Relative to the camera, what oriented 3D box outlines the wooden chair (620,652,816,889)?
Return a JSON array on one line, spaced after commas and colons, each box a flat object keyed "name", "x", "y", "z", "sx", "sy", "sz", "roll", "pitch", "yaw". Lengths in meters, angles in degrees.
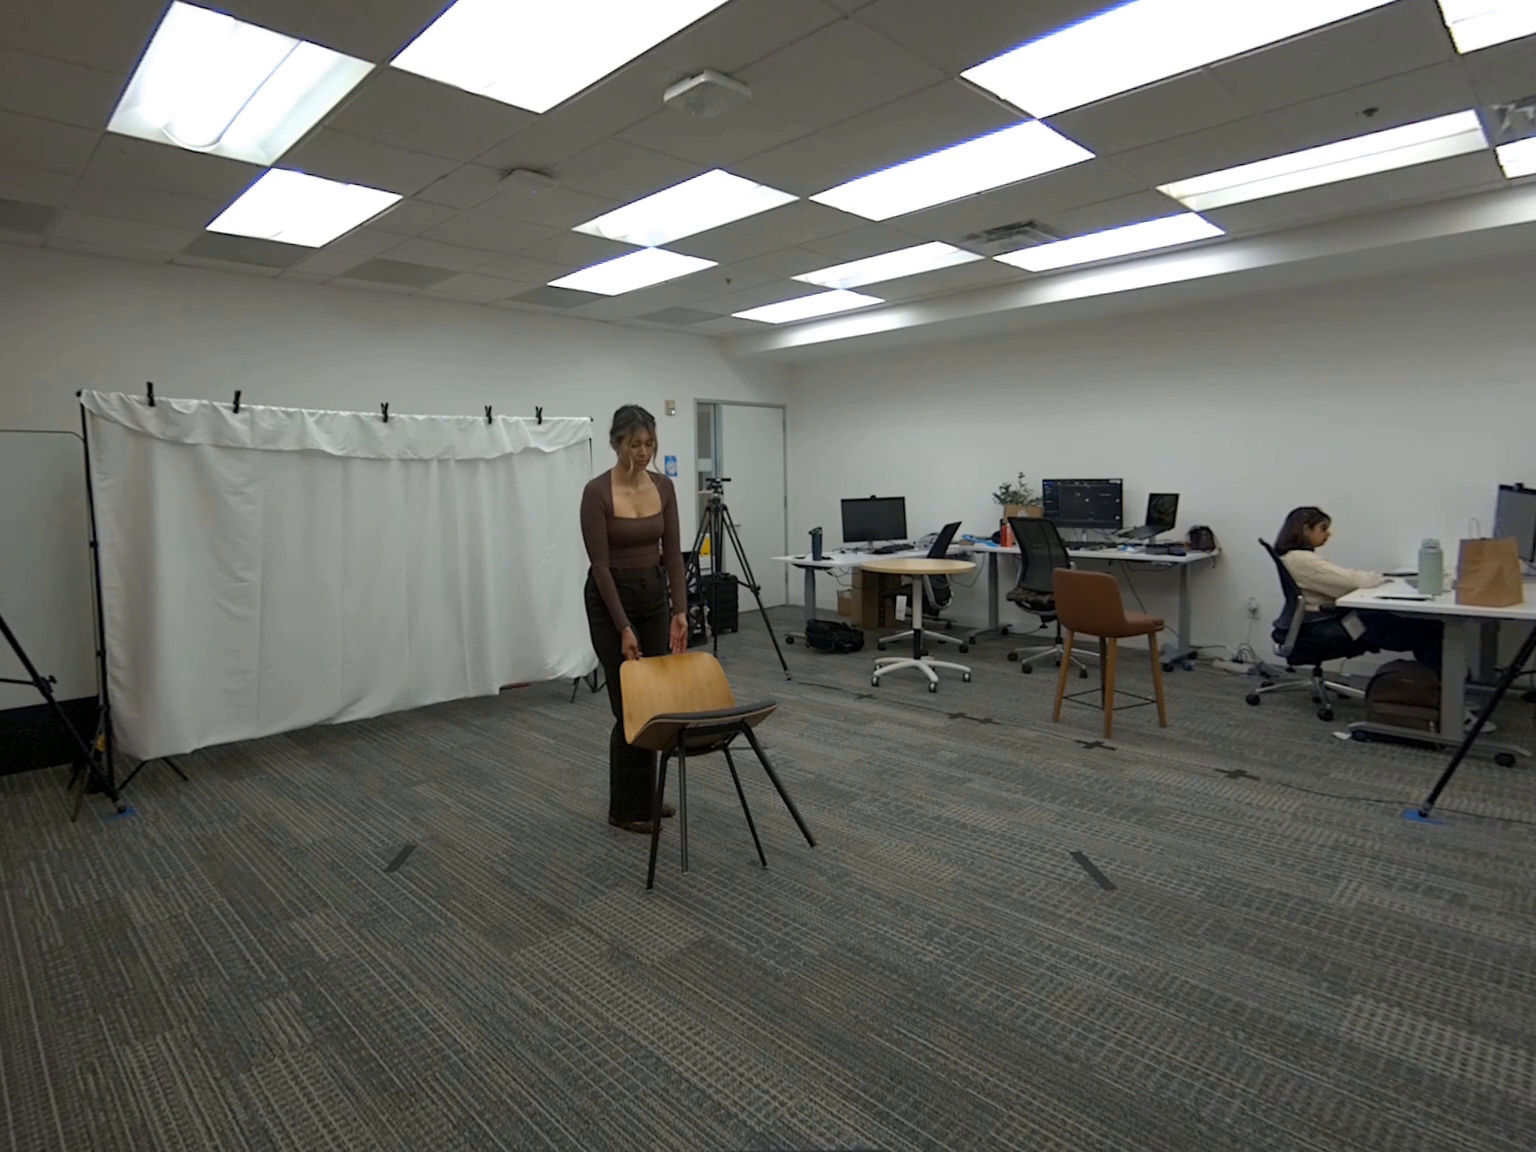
[{"name": "wooden chair", "x": -0.221, "y": 0.573, "z": 2.971, "sx": 0.469, "sy": 0.902, "sz": 0.519, "roll": -3, "pitch": -30, "yaw": -23}]
